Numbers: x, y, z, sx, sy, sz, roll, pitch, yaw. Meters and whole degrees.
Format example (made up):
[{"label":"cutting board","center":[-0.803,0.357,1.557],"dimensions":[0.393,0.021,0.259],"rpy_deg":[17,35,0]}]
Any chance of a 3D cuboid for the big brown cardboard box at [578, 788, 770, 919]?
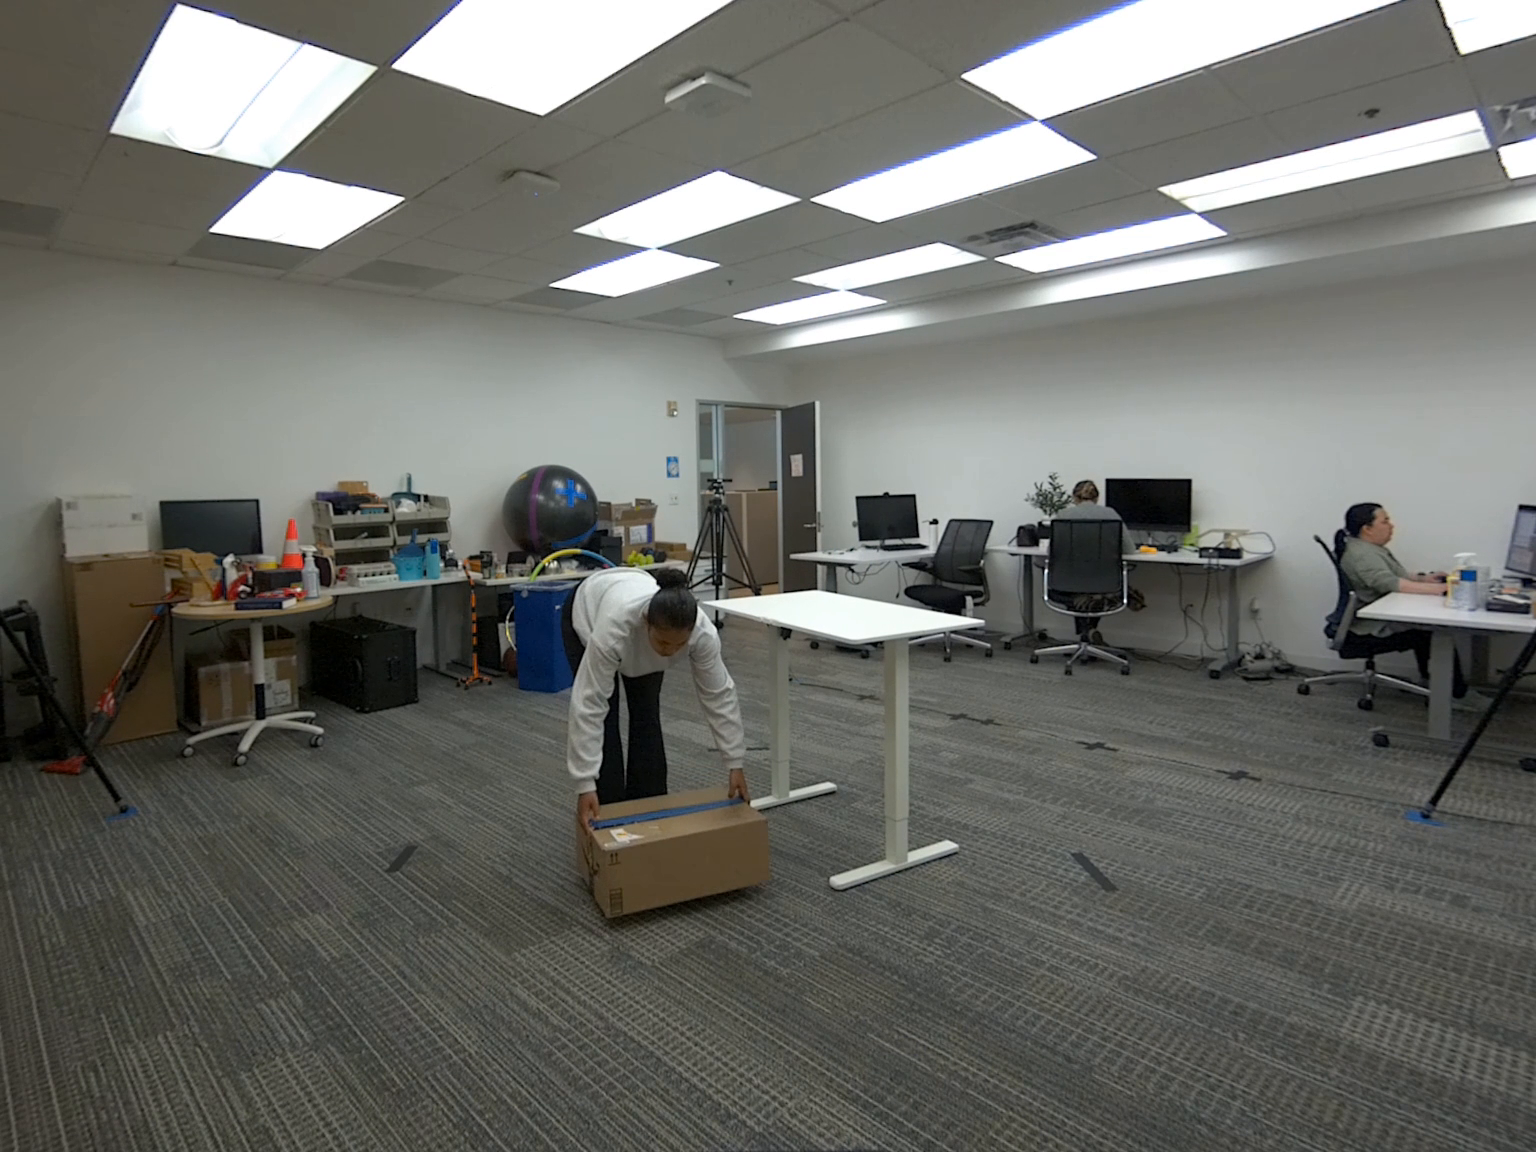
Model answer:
[{"label":"big brown cardboard box","center":[-0.339,0.918,2.926],"dimensions":[0.577,0.233,0.427],"rpy_deg":[-3,3,-24]}]
